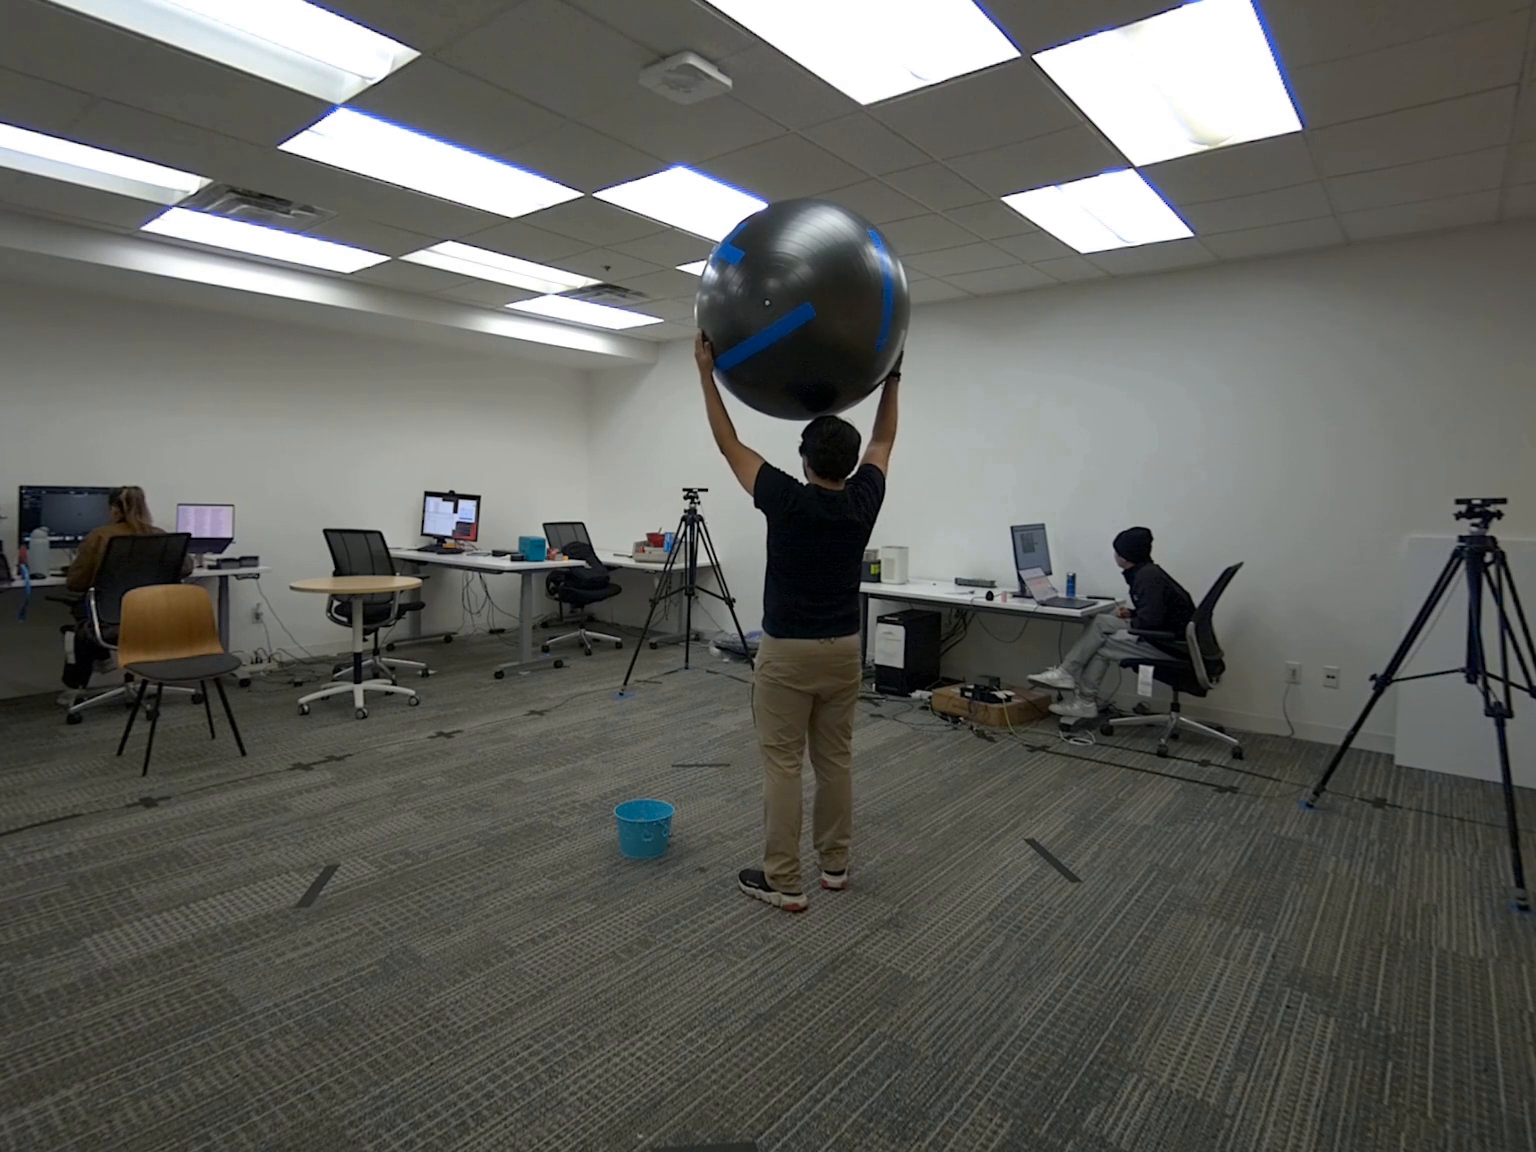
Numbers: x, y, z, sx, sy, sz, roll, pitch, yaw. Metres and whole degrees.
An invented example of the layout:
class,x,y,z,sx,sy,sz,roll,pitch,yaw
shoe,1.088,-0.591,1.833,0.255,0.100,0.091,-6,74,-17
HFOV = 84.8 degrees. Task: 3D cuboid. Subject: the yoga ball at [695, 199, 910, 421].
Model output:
class,x,y,z,sx,sy,sz,roll,pitch,yaw
yoga ball,0.108,-0.931,3.021,0.757,0.756,0.761,1,4,-2
